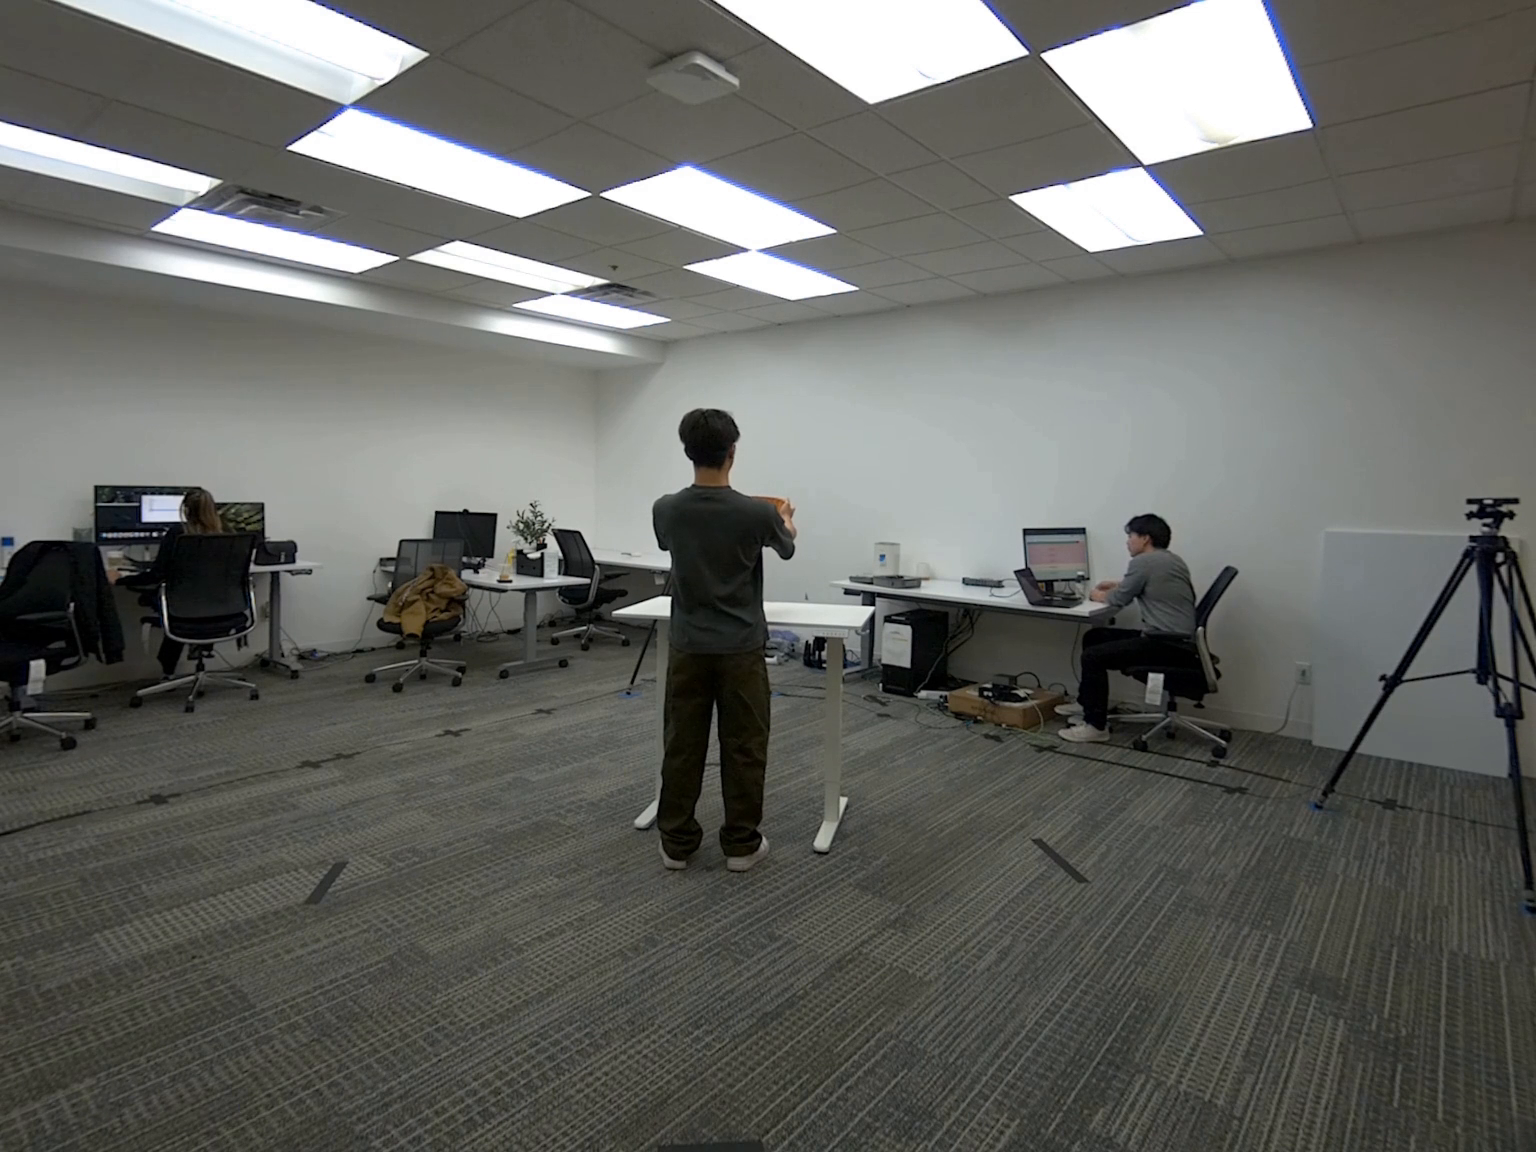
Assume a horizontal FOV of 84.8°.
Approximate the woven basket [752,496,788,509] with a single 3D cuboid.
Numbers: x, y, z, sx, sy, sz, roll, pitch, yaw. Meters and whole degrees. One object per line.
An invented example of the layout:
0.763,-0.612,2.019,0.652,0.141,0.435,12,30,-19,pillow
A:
-0.087,-0.258,3.619,0.361,0.072,0.250,10,29,28,woven basket
